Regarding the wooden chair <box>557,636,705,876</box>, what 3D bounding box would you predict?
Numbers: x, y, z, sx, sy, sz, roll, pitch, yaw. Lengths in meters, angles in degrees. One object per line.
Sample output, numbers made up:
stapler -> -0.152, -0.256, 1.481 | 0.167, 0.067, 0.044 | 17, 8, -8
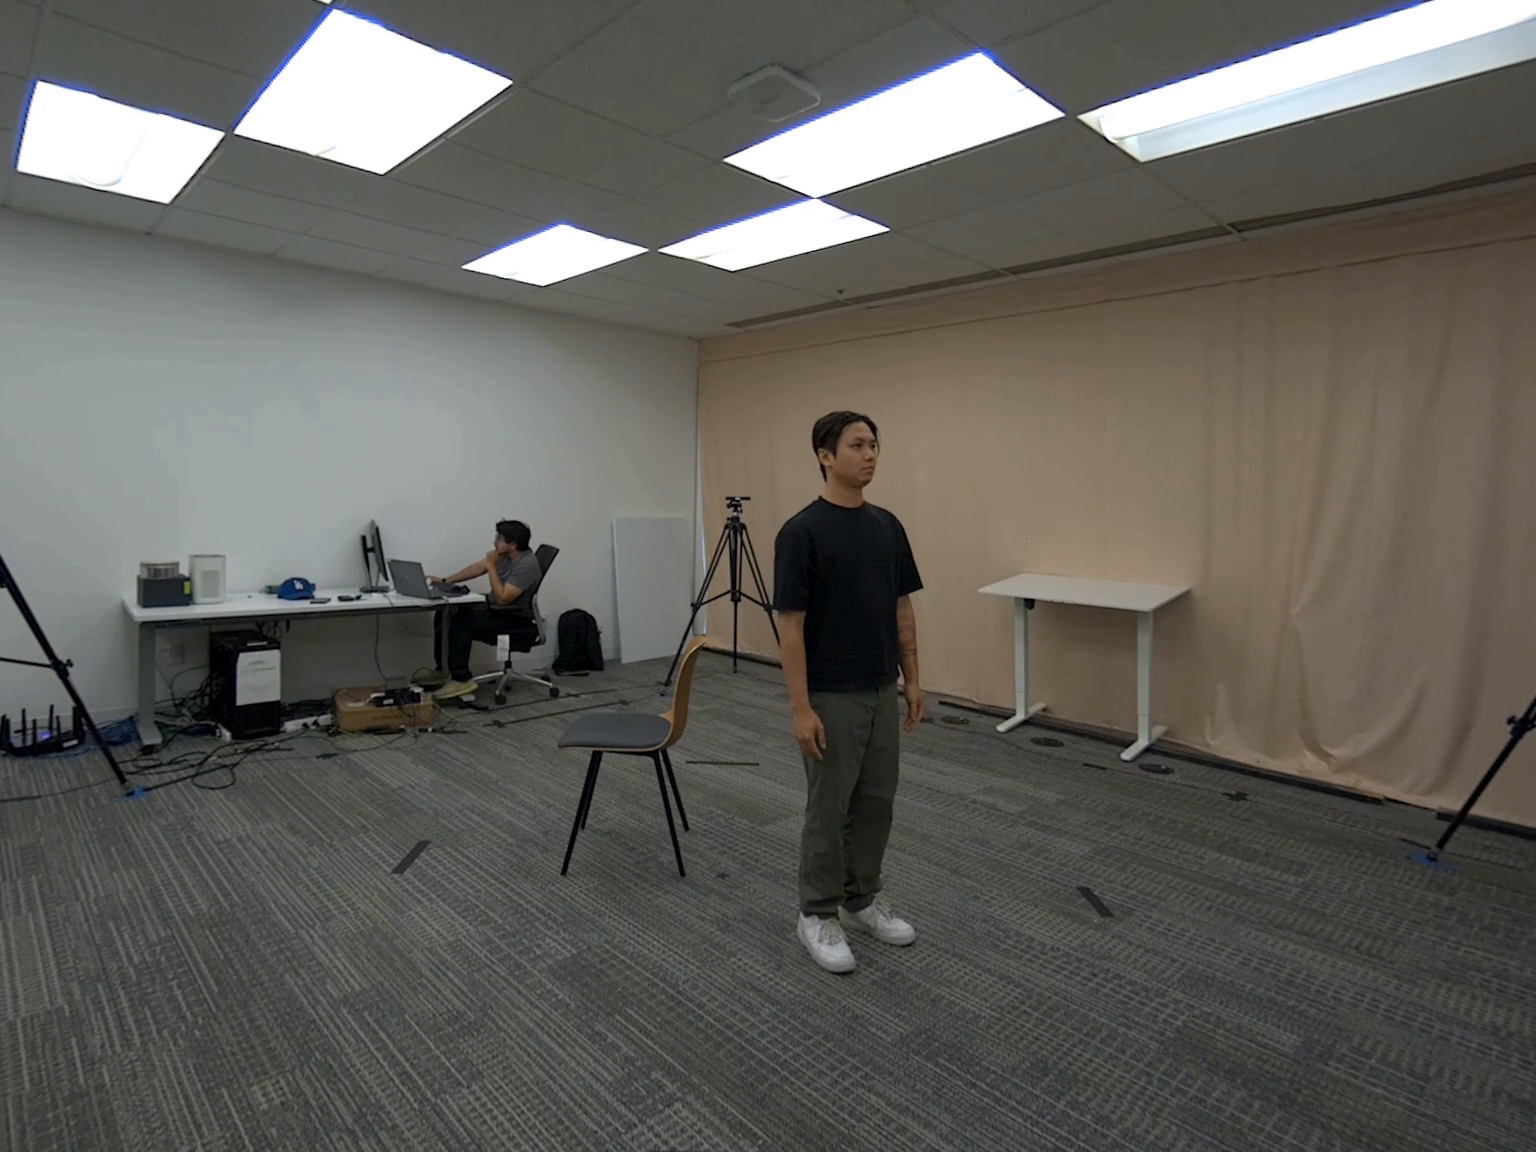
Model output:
wooden chair -> -0.543, 0.657, 3.263 | 0.522, 0.875, 0.480 | 5, 4, -3
